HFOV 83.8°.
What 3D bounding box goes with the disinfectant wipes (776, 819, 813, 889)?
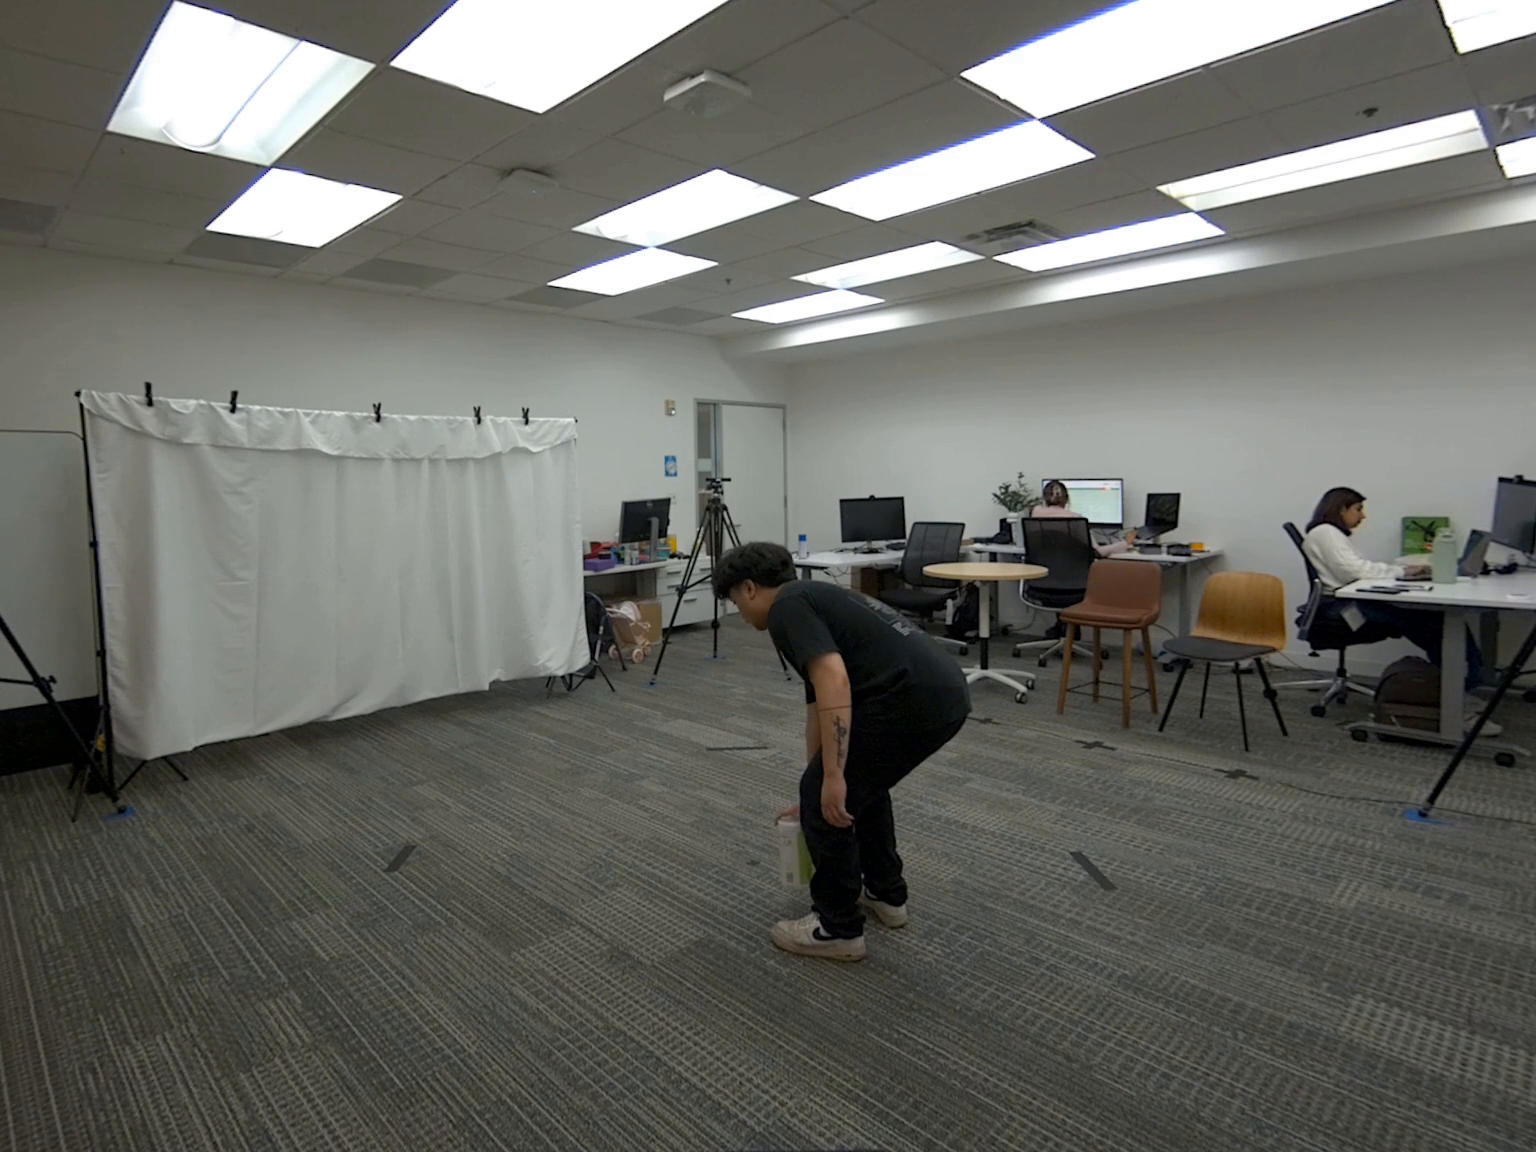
[{"bbox_3d":[0.098,0.895,2.777,0.118,0.217,0.118,-3,1,-2],"label":"disinfectant wipes"}]
